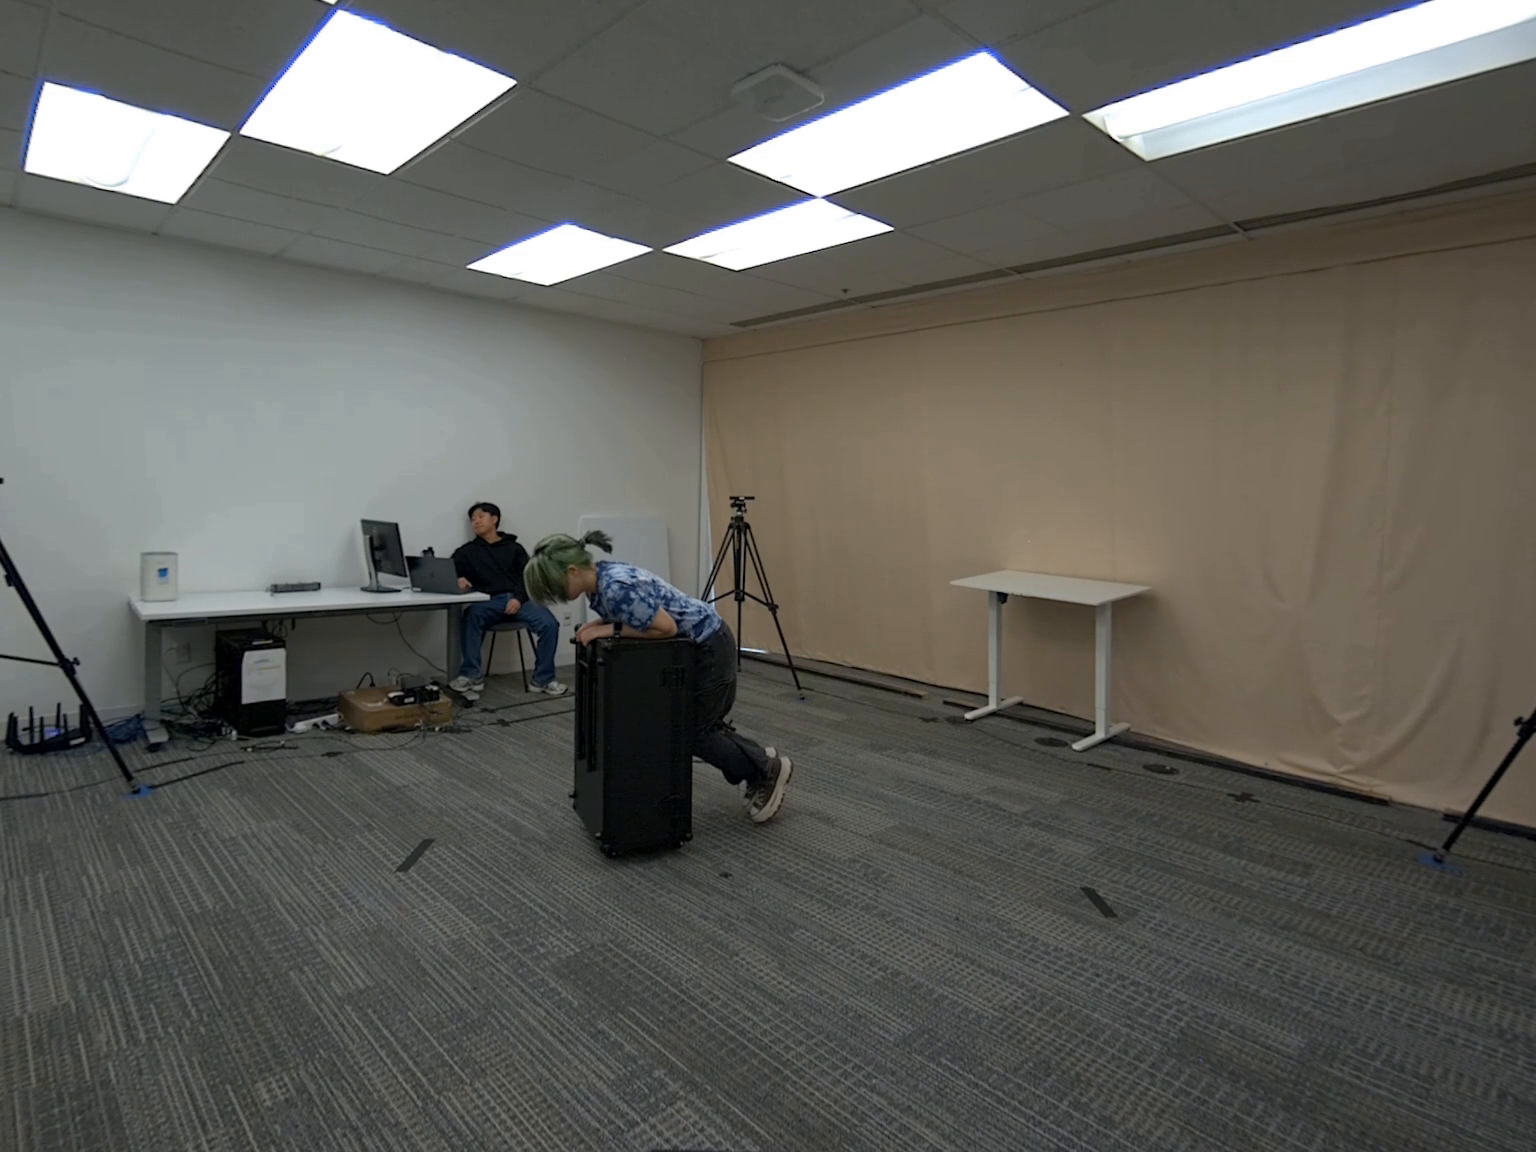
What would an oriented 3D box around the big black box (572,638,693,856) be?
[{"bbox_3d":[-0.566,0.594,3.361,0.389,0.859,0.532,-1,4,-25],"label":"big black box"}]
